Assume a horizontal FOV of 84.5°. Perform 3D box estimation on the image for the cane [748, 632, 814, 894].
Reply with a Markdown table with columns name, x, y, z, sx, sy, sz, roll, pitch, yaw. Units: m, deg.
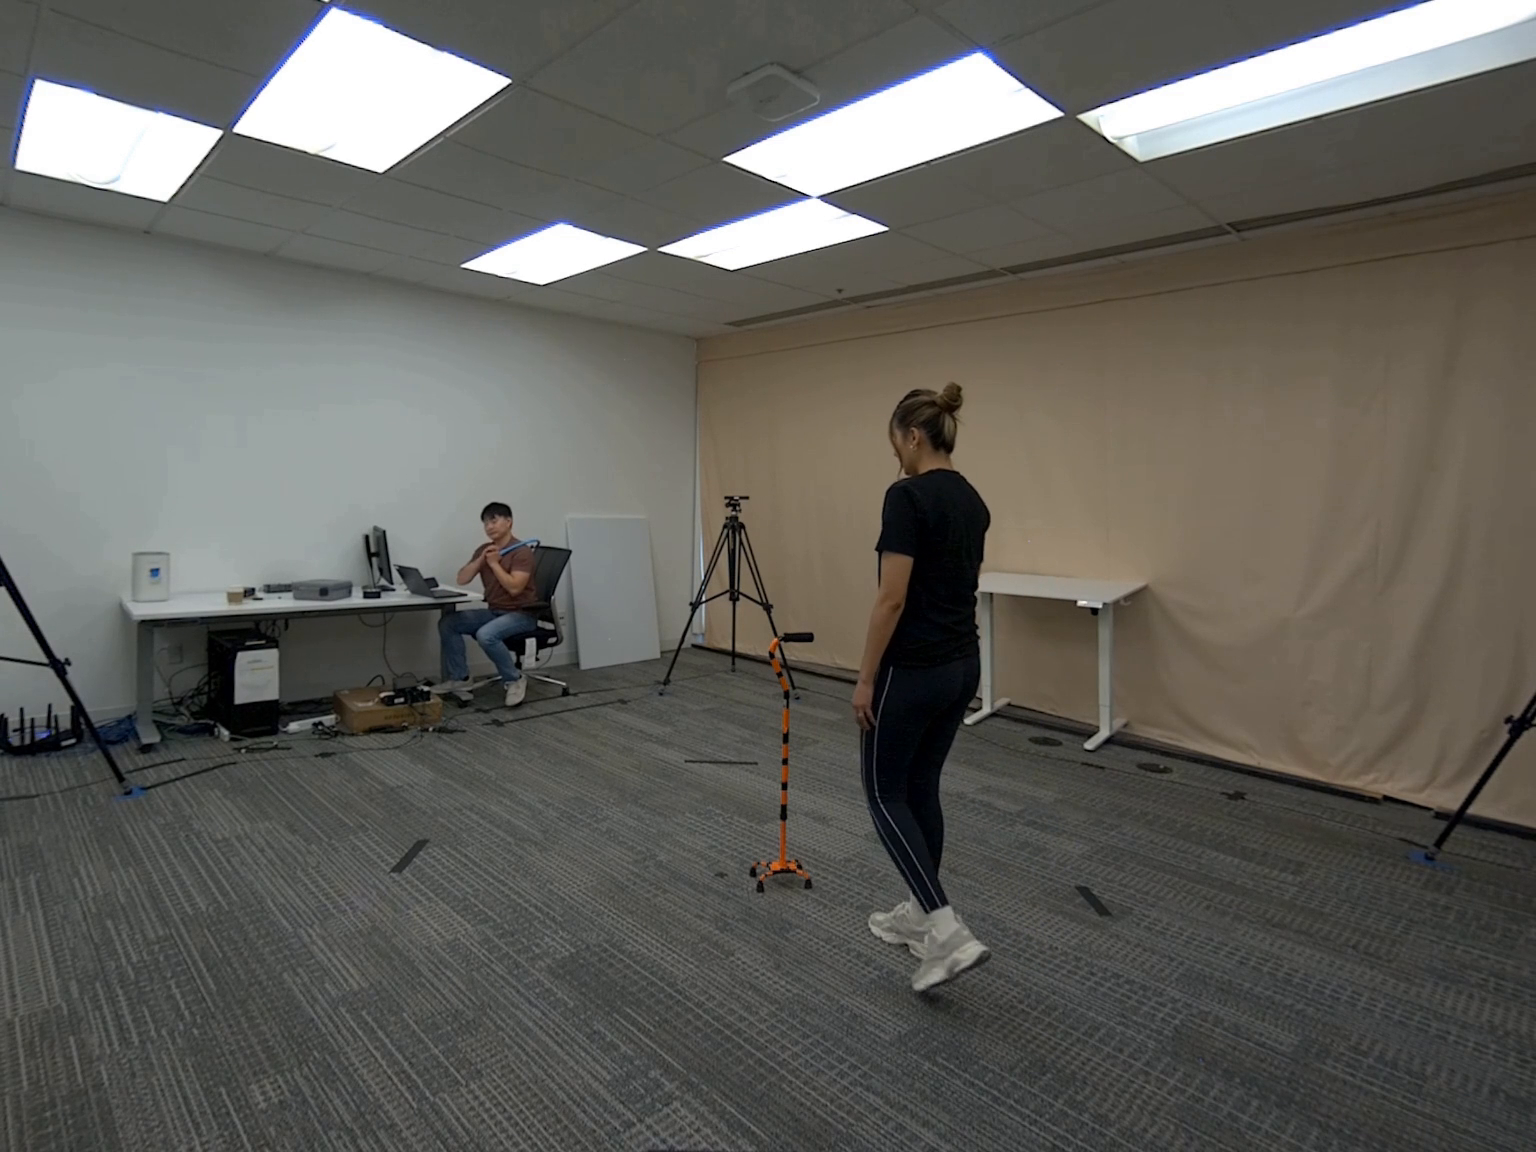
| name | x | y | z | sx | sy | sz | roll | pitch | yaw |
| --- | --- | --- | --- | --- | --- | --- | --- | --- | --- |
| cane | 0.053 | 0.661 | 3.033 | 0.204 | 0.906 | 0.153 | 1 | 3 | -13 |
